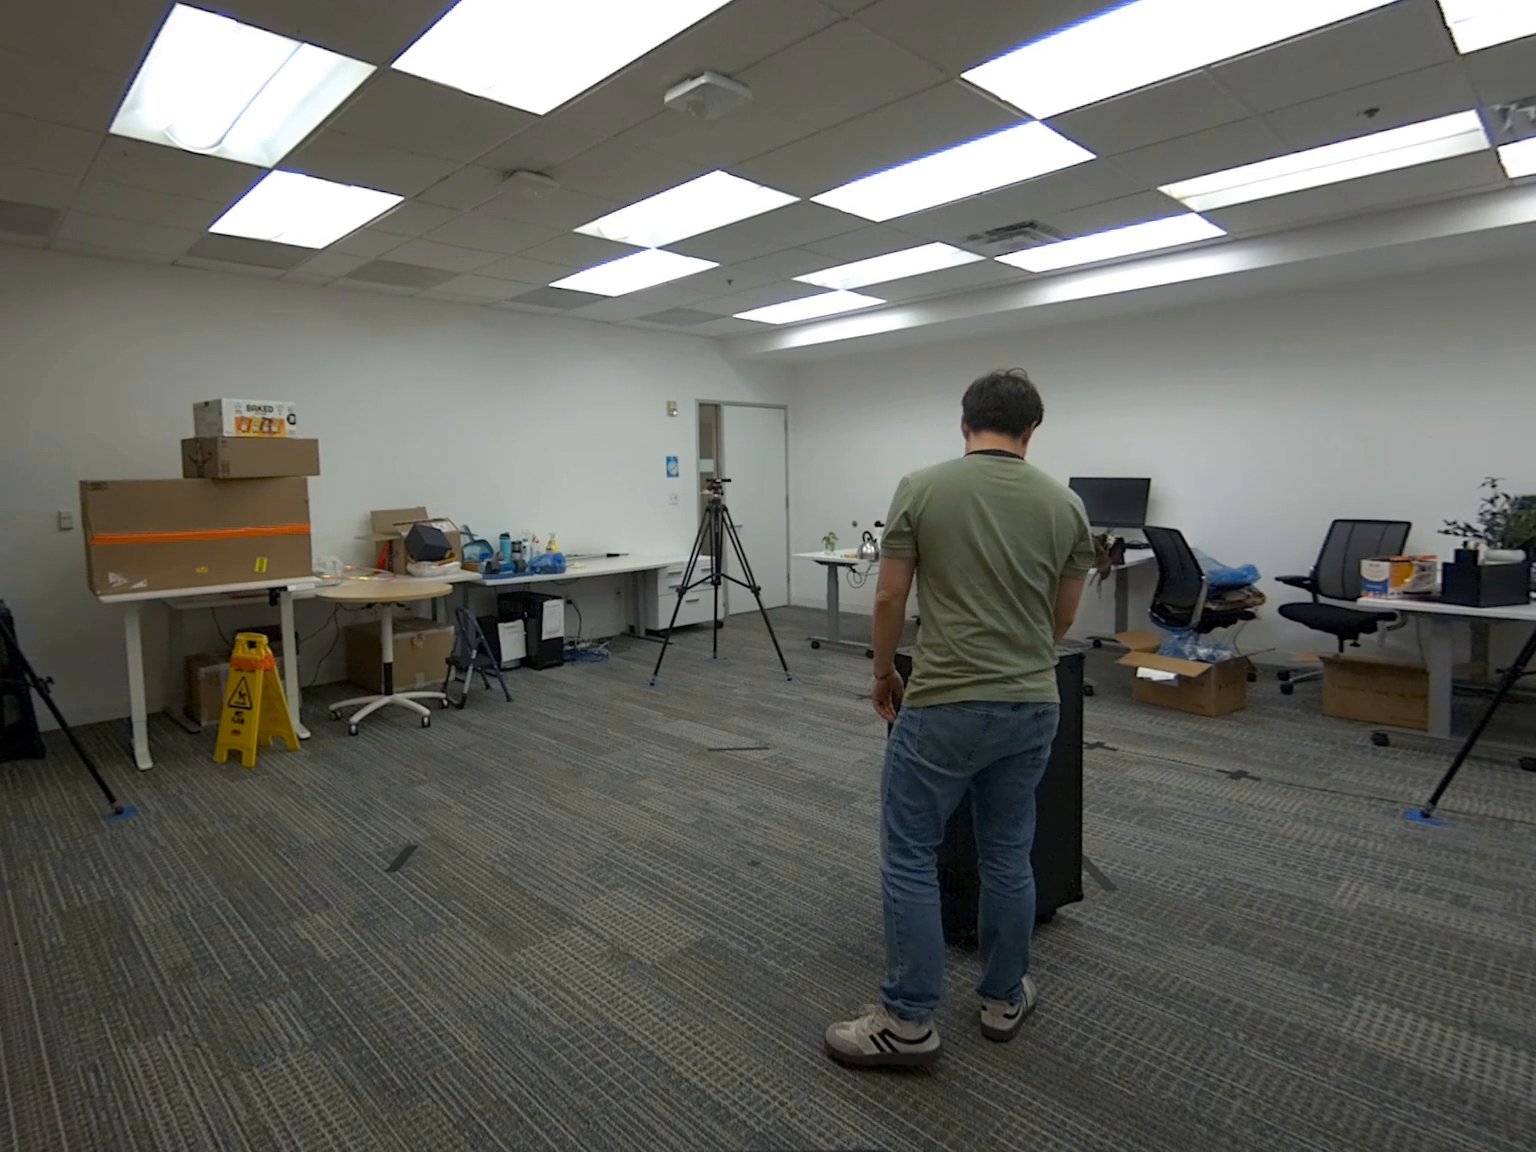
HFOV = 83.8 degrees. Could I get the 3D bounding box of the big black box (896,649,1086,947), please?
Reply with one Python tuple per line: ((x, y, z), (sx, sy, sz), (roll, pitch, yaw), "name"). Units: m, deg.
((0.674, 0.655, 2.681), (0.509, 0.859, 0.407), (-3, 4, -30), "big black box")
